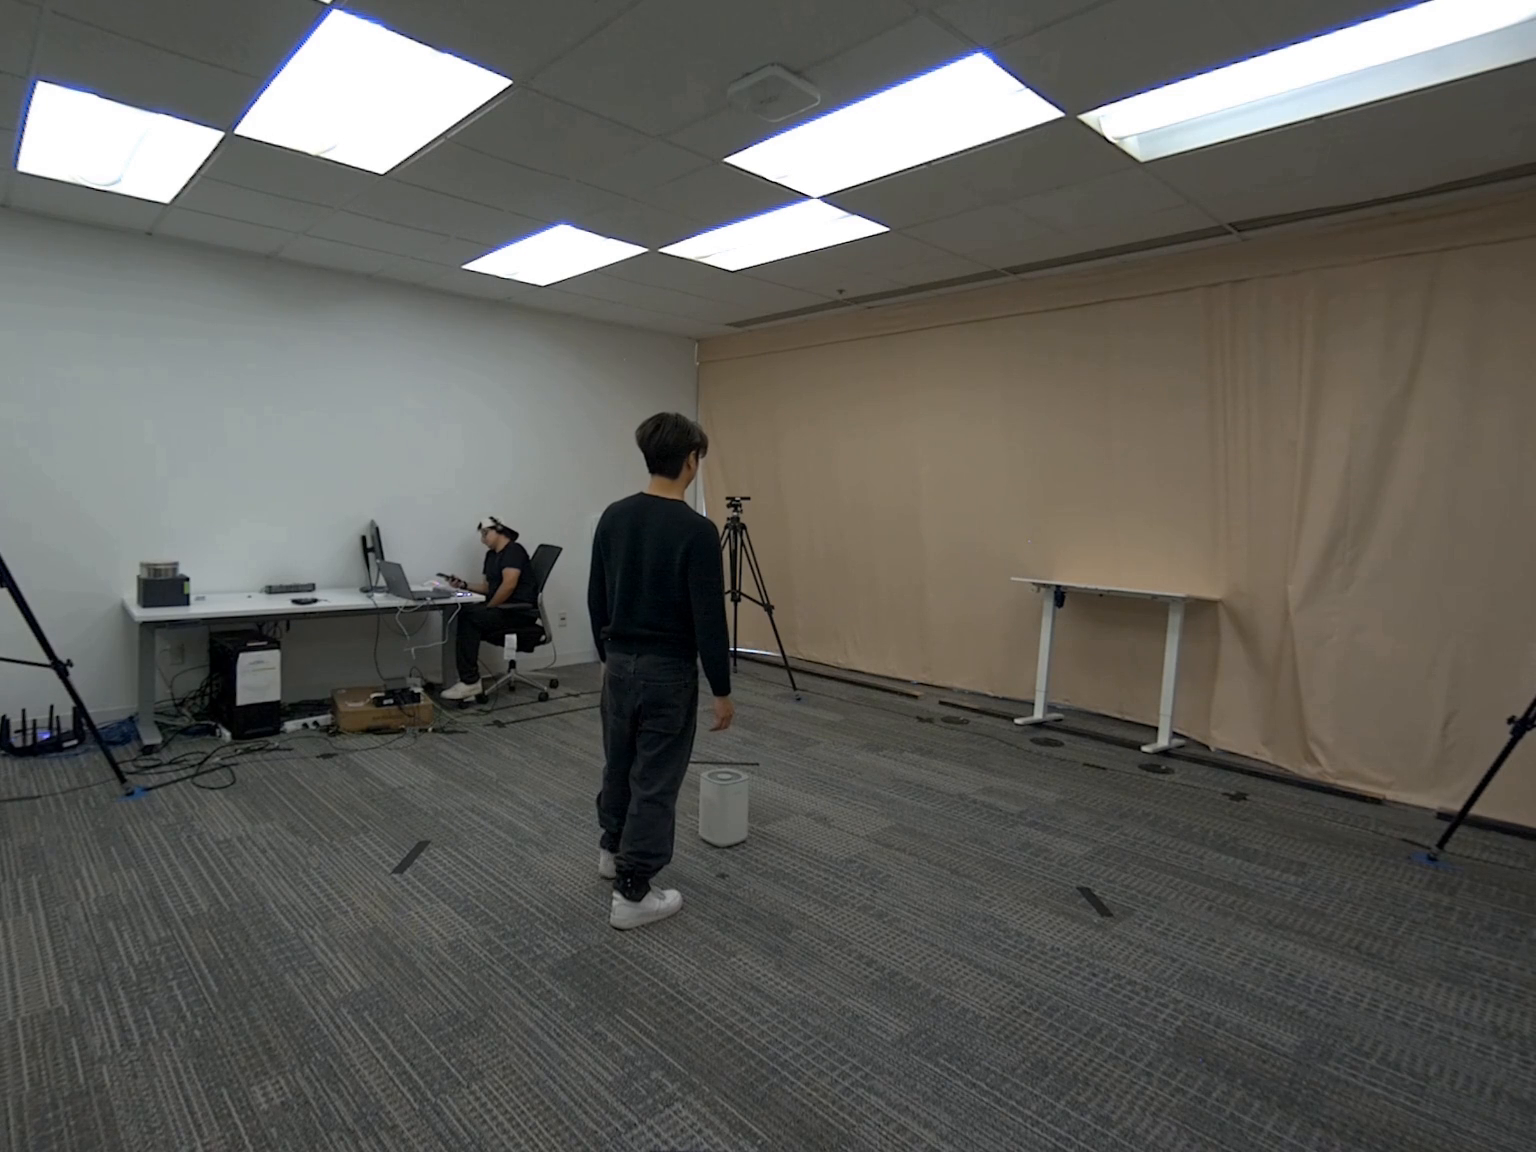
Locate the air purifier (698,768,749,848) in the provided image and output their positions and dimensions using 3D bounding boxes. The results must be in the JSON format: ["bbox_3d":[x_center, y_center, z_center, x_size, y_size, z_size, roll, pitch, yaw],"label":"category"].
[{"bbox_3d":[-0.192,0.944,3.430,0.167,0.264,0.176,-2,6,-43],"label":"air purifier"}]
